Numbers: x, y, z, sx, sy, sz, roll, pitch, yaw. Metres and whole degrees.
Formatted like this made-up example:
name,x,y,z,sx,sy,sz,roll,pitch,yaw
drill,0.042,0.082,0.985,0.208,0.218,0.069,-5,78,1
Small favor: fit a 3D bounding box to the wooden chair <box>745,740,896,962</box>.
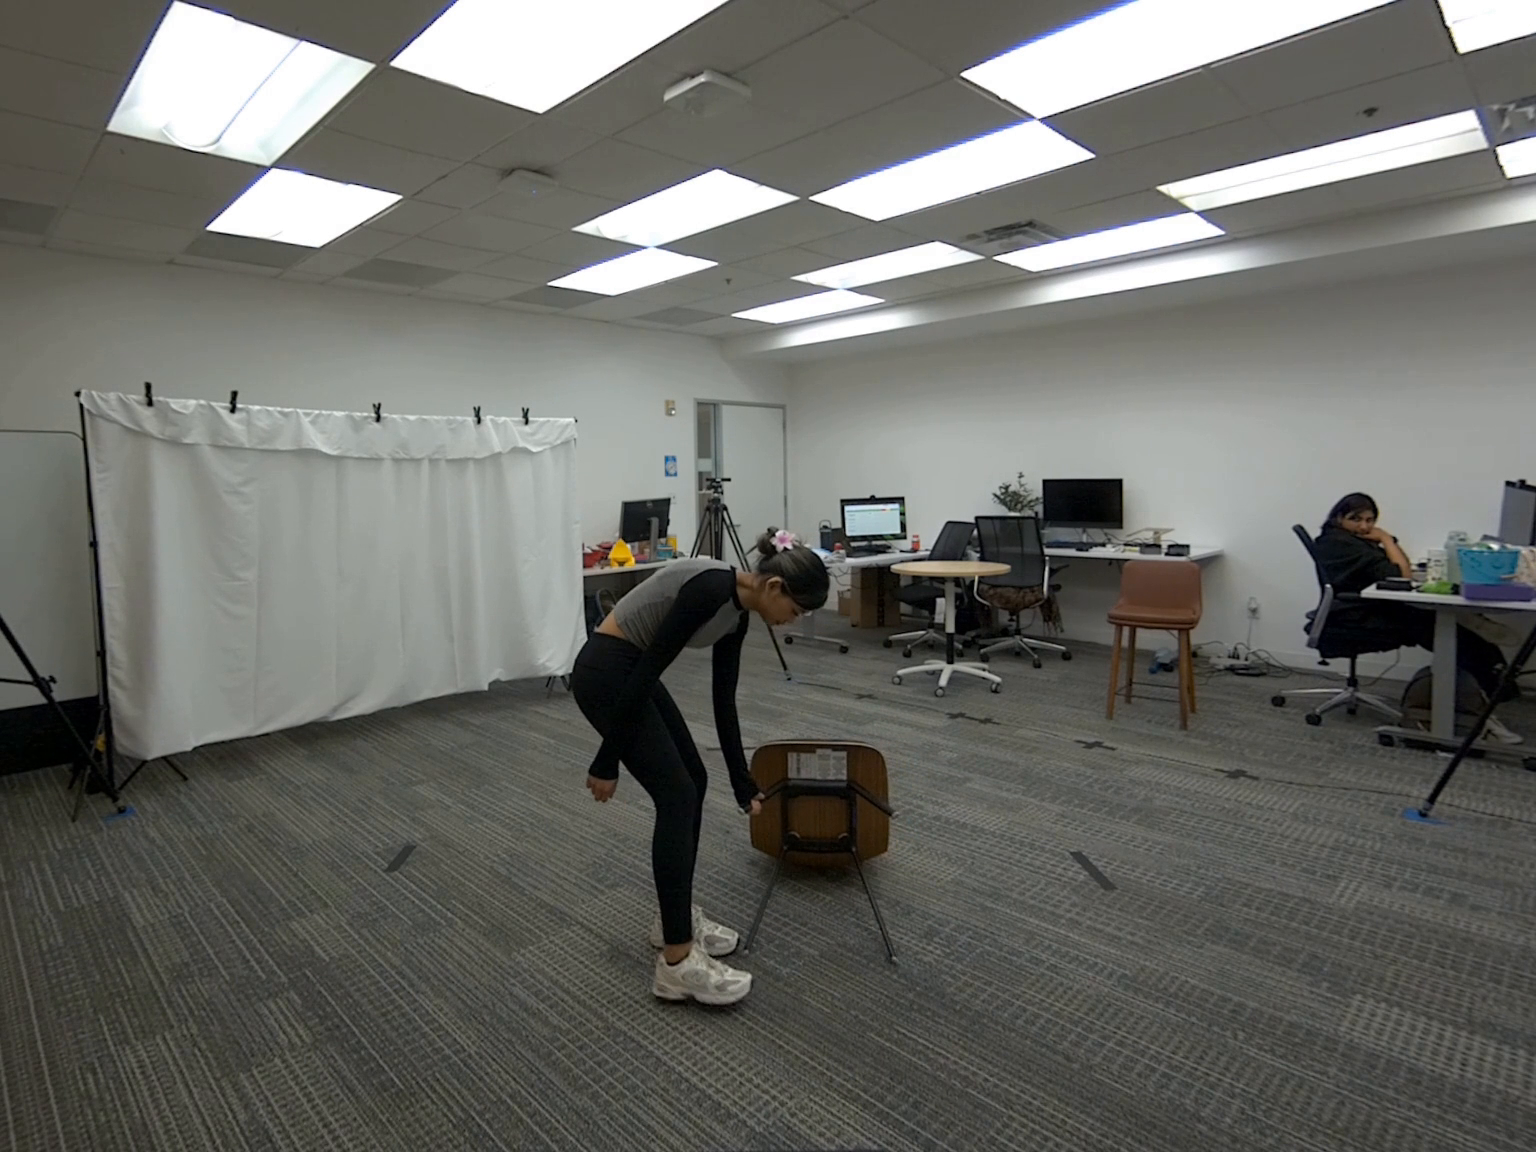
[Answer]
name,x,y,z,sx,sy,sz,roll,pitch,yaw
wooden chair,0.184,0.806,2.867,0.481,0.521,0.876,0,5,5
